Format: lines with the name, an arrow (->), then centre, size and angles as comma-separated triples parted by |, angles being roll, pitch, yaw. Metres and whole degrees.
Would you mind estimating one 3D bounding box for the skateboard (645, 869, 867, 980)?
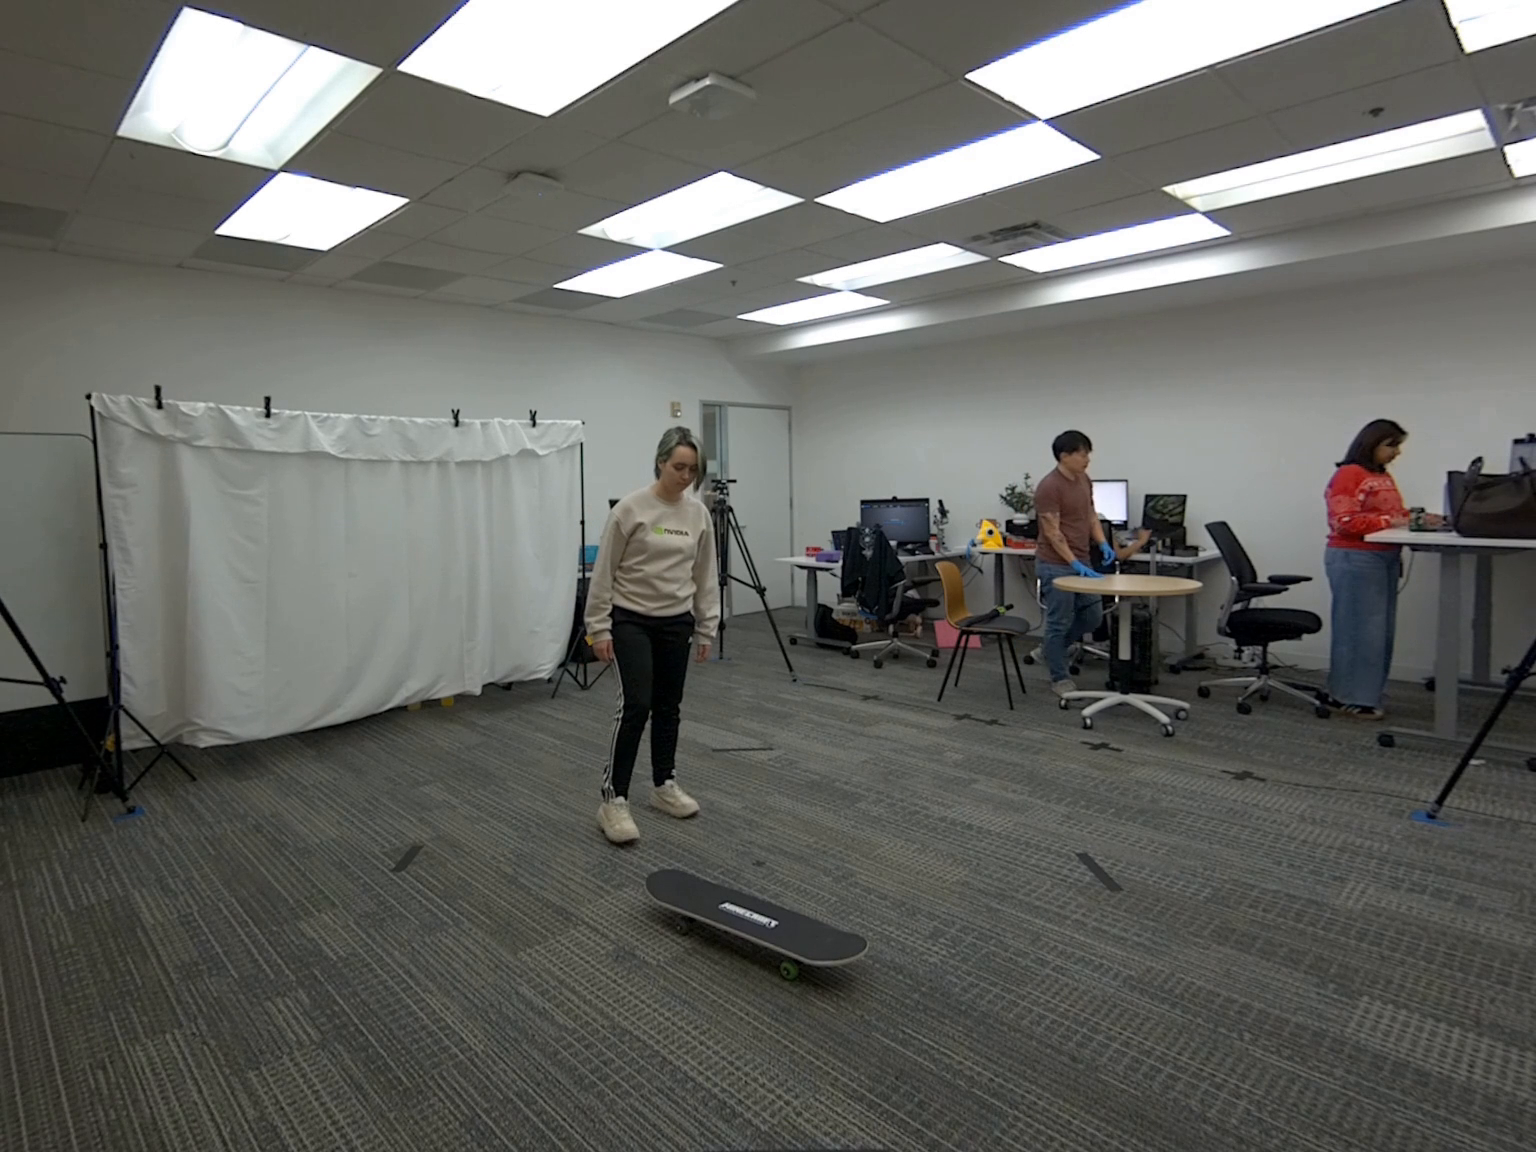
skateboard -> -0.057, 1.056, 2.566 | 0.808, 0.110, 0.189 | 4, 8, 37
